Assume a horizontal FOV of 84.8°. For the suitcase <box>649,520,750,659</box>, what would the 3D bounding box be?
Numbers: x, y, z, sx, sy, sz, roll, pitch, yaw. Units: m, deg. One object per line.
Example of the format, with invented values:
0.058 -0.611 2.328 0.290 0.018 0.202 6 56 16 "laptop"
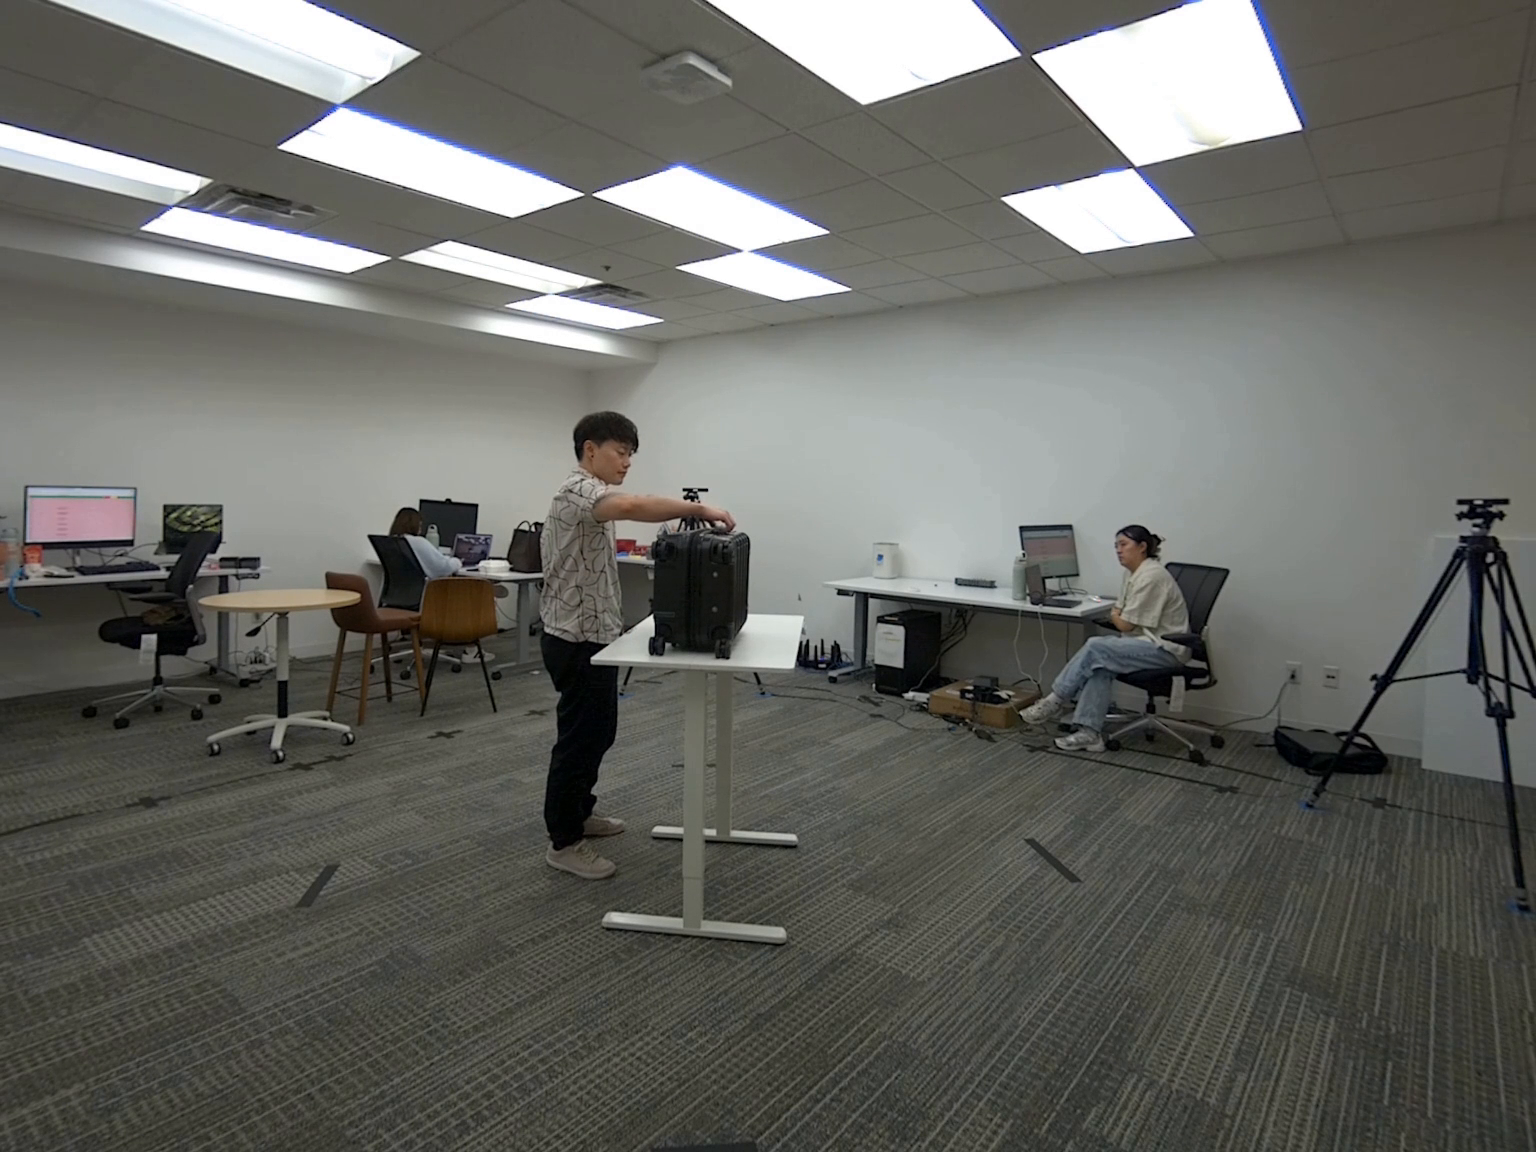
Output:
-0.207 0.026 2.805 0.250 0.374 0.546 1 5 7 "suitcase"
